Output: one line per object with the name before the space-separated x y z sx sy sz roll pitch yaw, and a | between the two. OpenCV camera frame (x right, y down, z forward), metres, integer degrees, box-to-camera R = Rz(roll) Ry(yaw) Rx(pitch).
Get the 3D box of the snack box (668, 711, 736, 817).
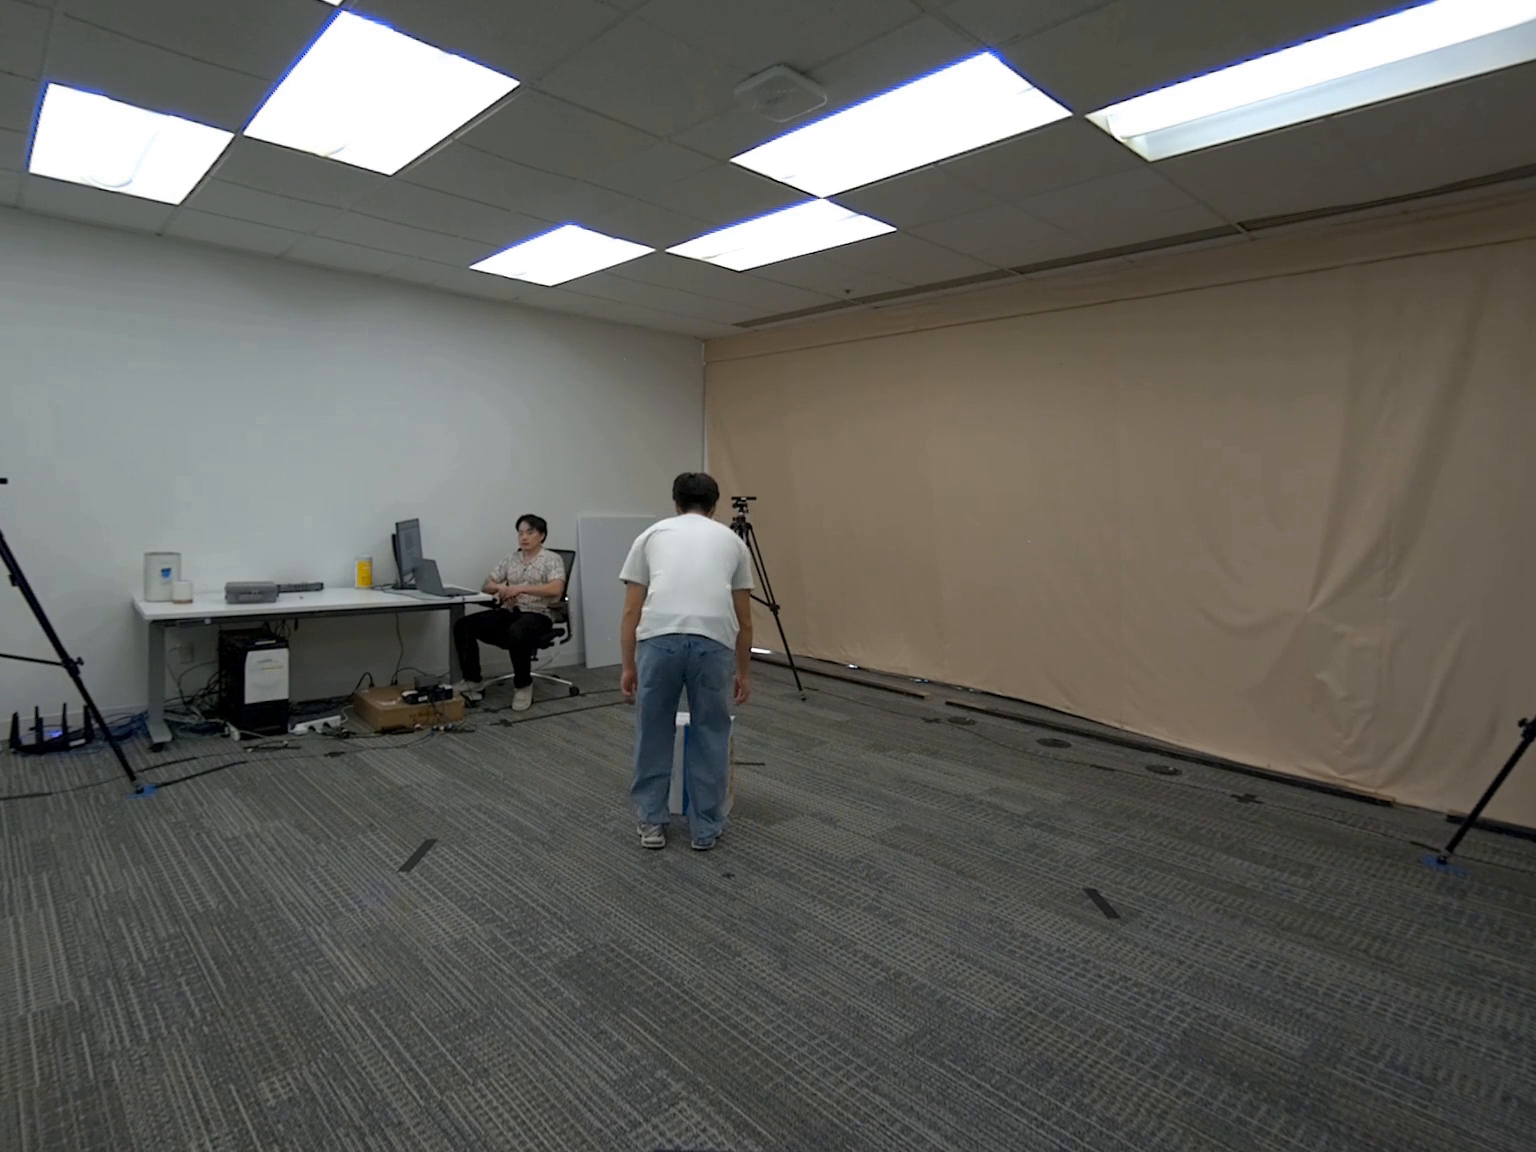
snack box | -0.350 0.846 3.777 0.343 0.404 0.204 2 4 11
